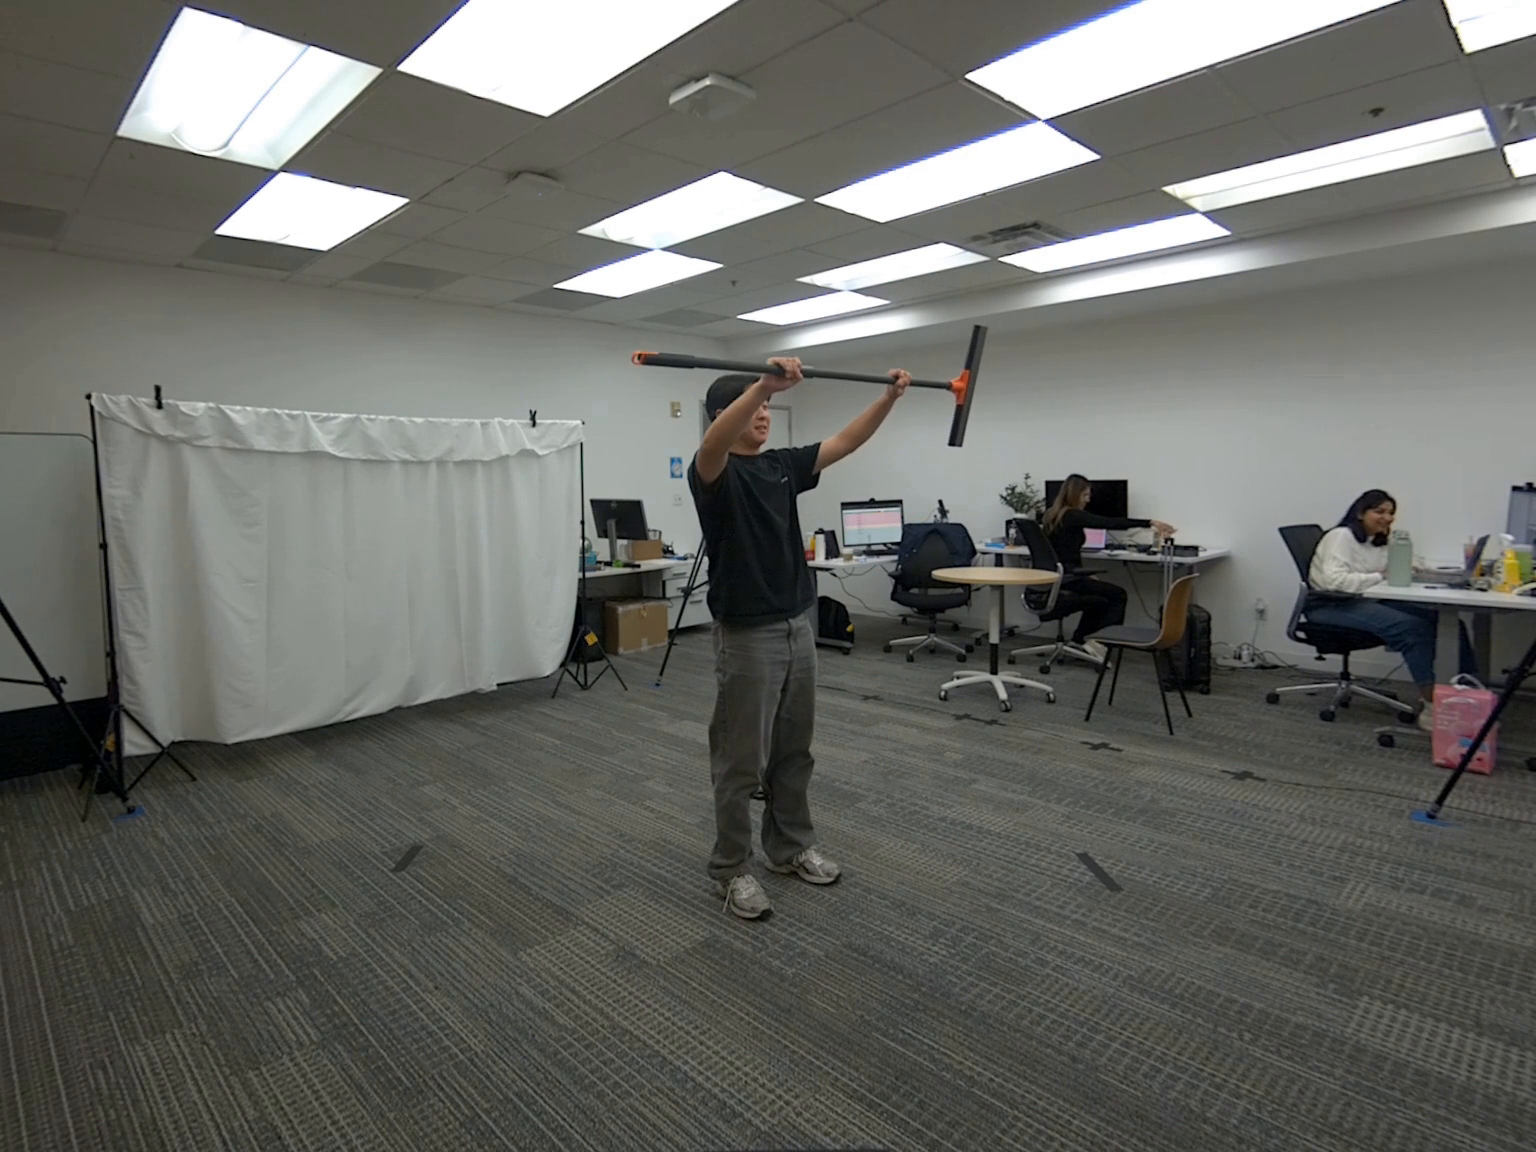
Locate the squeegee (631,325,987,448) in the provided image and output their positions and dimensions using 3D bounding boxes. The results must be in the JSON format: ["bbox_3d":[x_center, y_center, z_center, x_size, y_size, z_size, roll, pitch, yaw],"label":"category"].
[{"bbox_3d":[0.208,-0.589,2.532,0.055,0.432,1.499,24,23,40],"label":"squeegee"}]
